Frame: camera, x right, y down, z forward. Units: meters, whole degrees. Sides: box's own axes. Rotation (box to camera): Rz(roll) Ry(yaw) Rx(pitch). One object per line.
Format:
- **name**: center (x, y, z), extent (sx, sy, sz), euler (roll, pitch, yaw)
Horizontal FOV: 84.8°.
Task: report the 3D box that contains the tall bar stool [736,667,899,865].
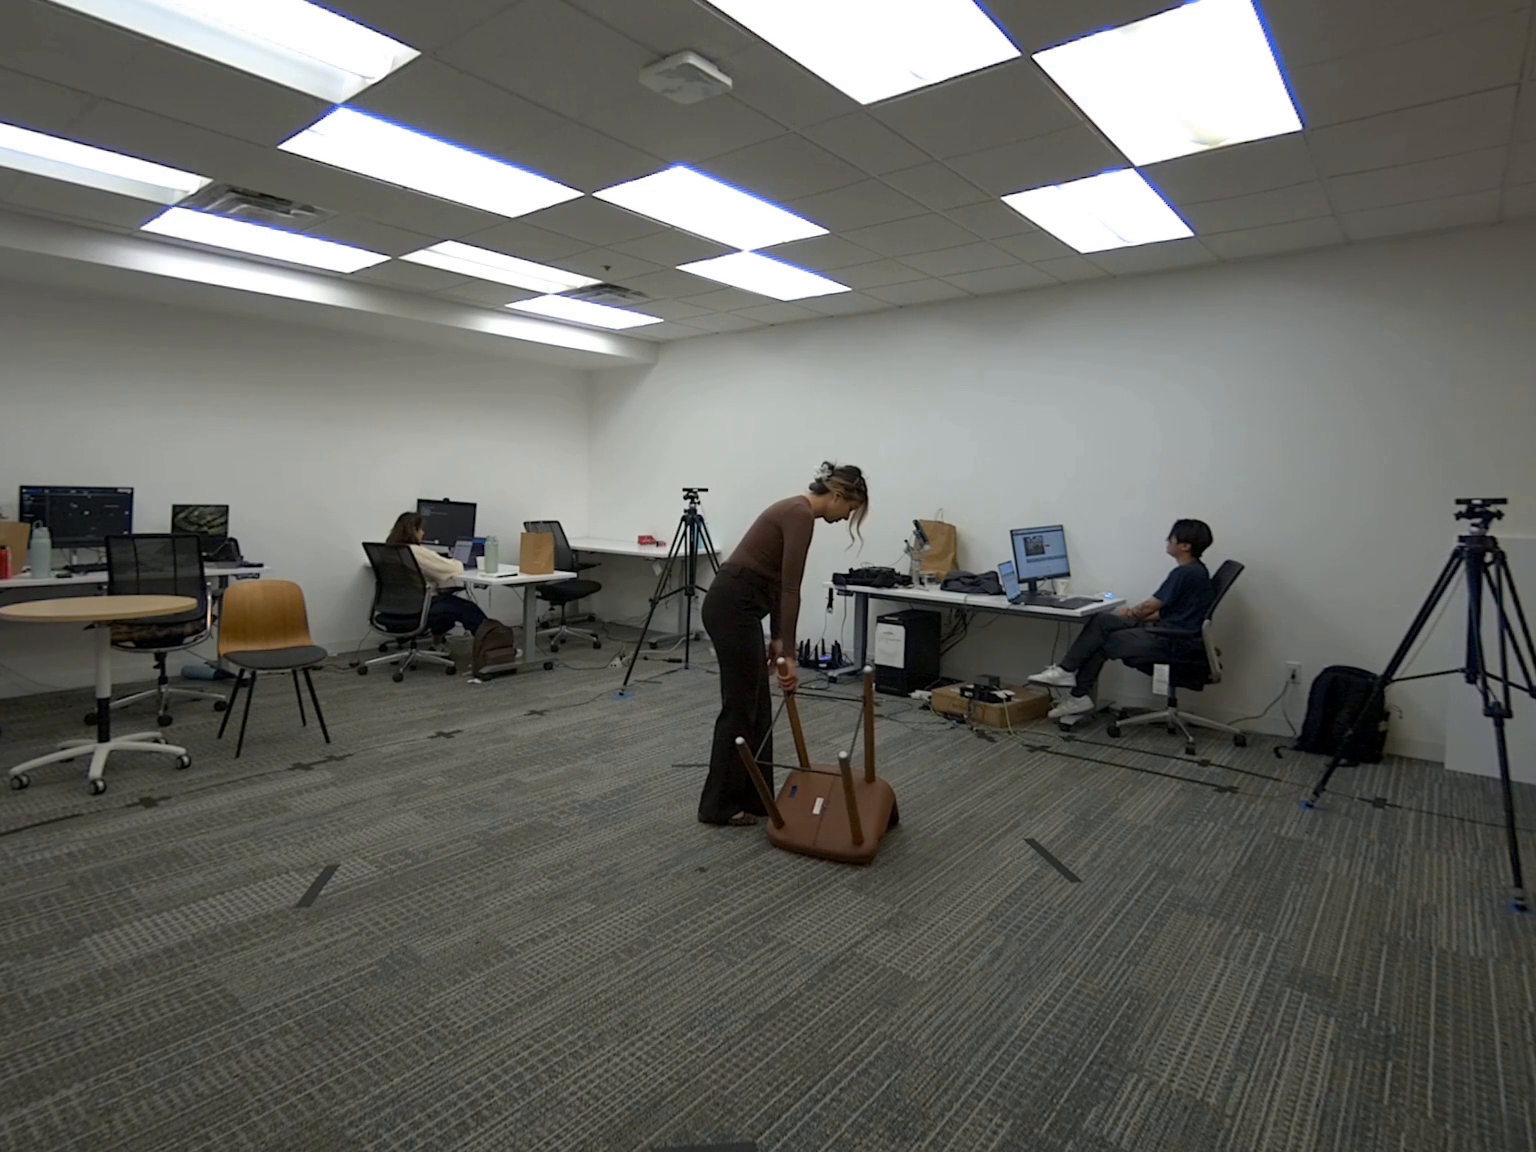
- **tall bar stool**: center (0.220, 0.812, 3.314), extent (0.468, 0.860, 0.472), euler (3, 38, 23)
